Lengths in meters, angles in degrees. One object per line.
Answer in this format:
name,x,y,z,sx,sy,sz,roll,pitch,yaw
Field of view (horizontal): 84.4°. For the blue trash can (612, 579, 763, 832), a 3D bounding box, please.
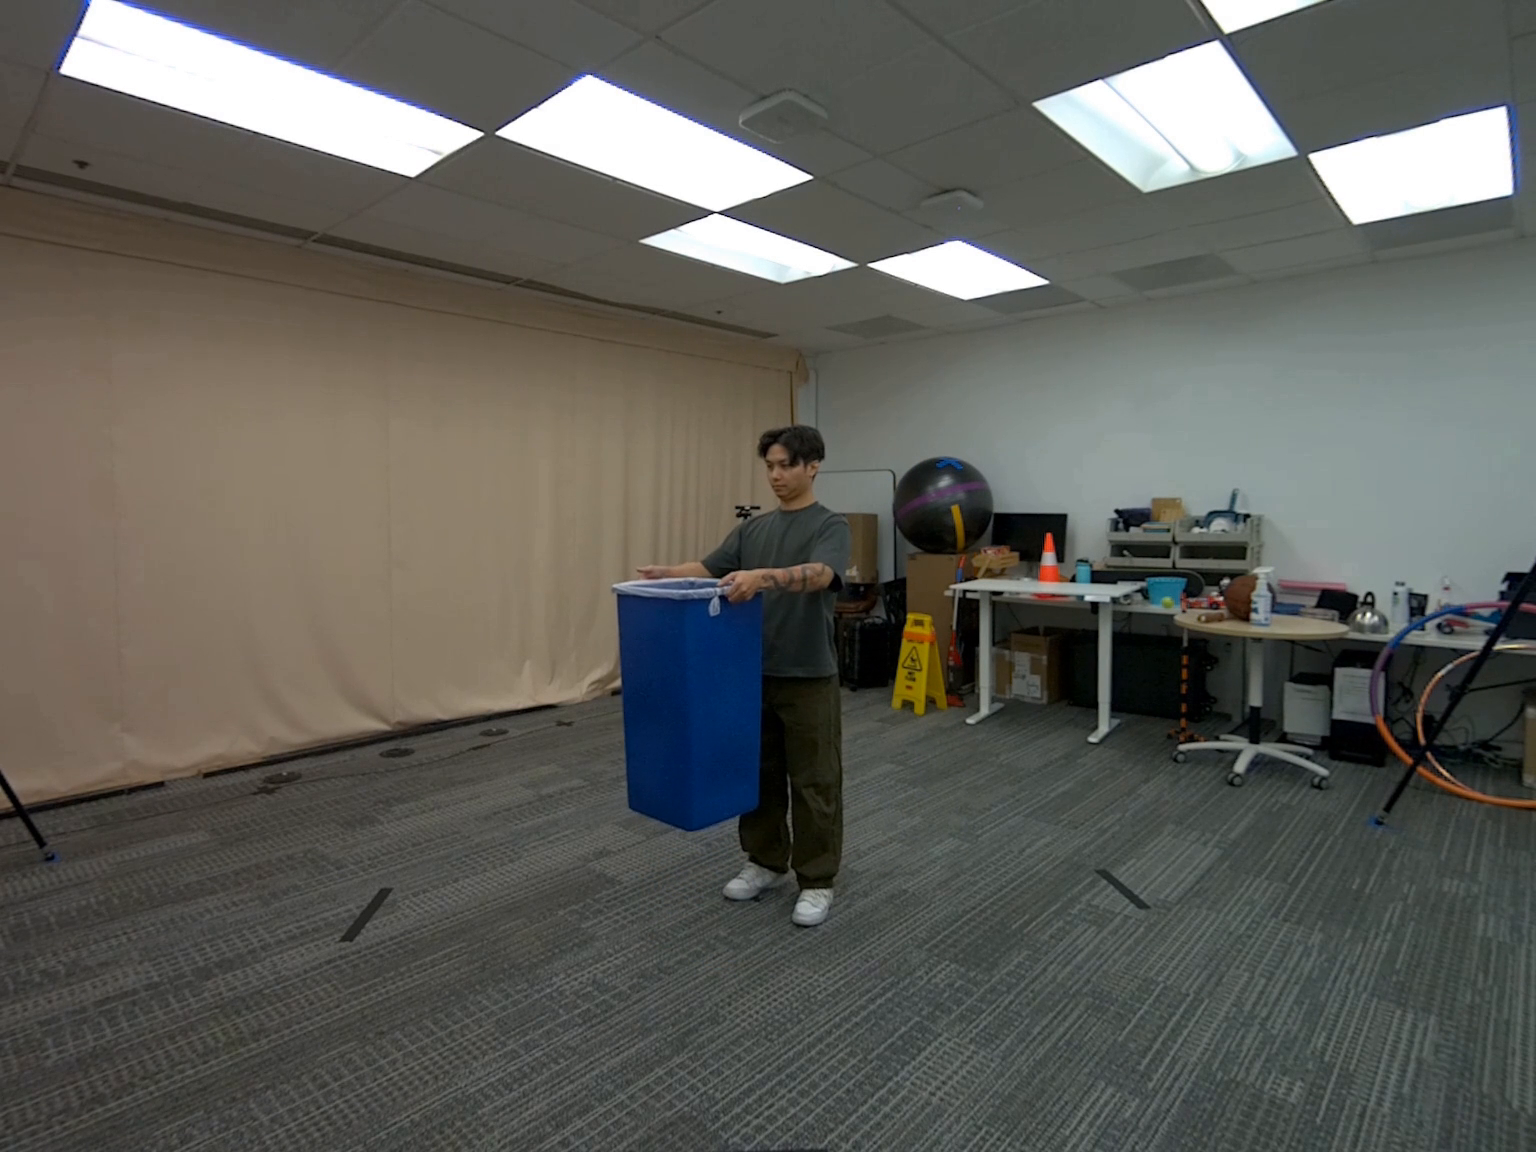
blue trash can,-0.237,0.387,2.646,0.390,0.713,0.362,1,3,43
